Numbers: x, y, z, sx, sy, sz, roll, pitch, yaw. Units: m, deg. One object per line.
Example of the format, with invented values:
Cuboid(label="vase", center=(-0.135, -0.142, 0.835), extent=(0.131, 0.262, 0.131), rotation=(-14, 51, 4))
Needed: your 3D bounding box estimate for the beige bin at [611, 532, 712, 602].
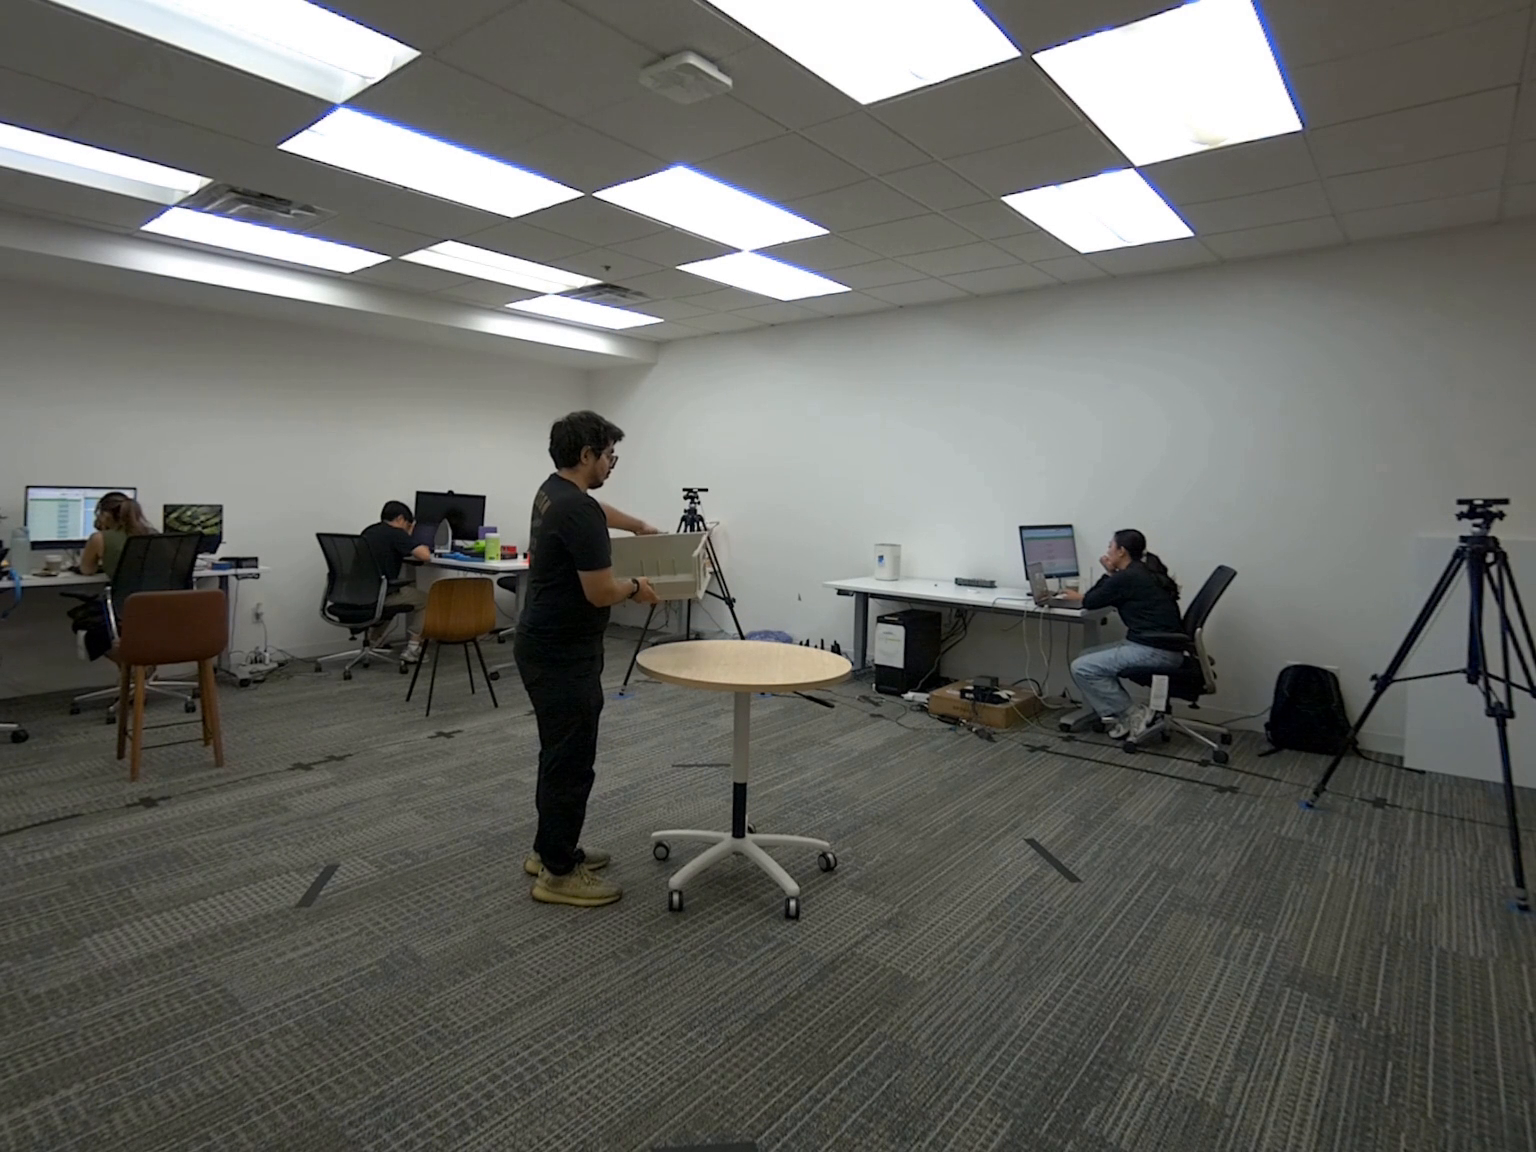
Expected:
Cuboid(label="beige bin", center=(-0.455, -0.034, 3.208), extent=(0.425, 0.187, 0.379), rotation=(-3, 13, 6))
